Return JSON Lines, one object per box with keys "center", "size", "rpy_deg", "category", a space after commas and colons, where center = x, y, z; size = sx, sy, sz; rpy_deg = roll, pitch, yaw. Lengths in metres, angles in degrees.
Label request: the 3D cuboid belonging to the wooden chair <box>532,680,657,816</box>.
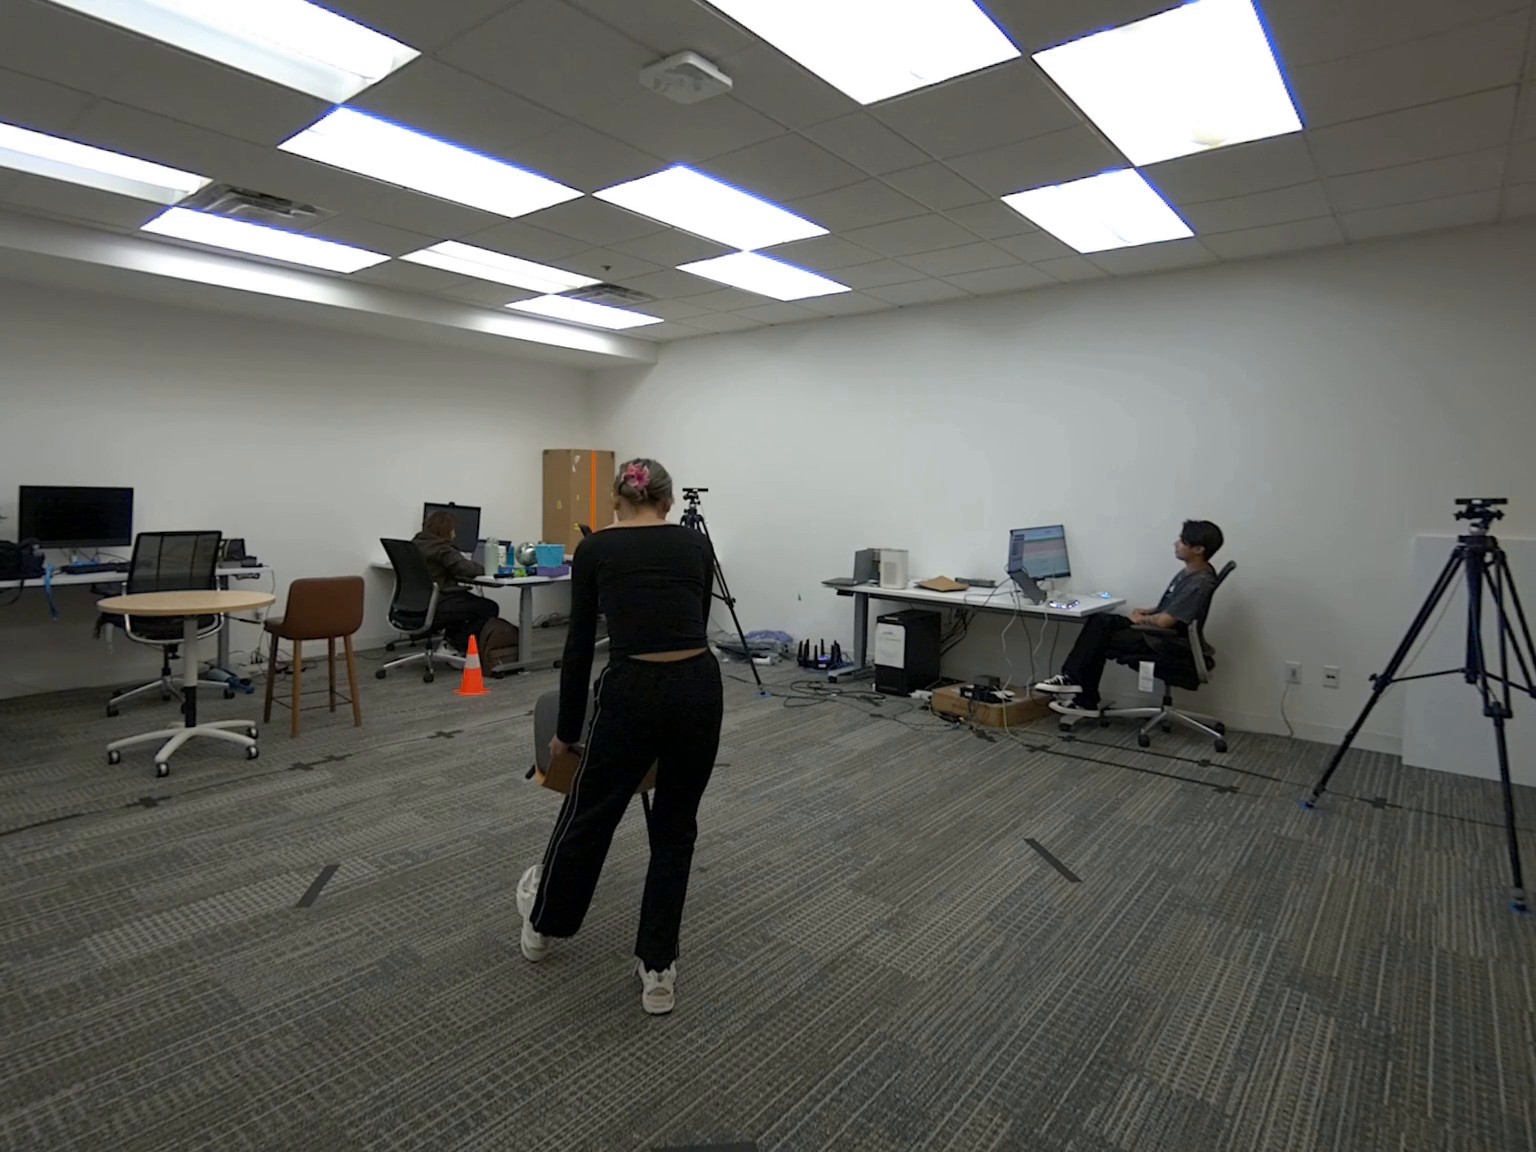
{"center": [-0.569, 0.597, 2.903], "size": [0.469, 0.861, 0.542], "rpy_deg": [0, 47, -19], "category": "wooden chair"}
